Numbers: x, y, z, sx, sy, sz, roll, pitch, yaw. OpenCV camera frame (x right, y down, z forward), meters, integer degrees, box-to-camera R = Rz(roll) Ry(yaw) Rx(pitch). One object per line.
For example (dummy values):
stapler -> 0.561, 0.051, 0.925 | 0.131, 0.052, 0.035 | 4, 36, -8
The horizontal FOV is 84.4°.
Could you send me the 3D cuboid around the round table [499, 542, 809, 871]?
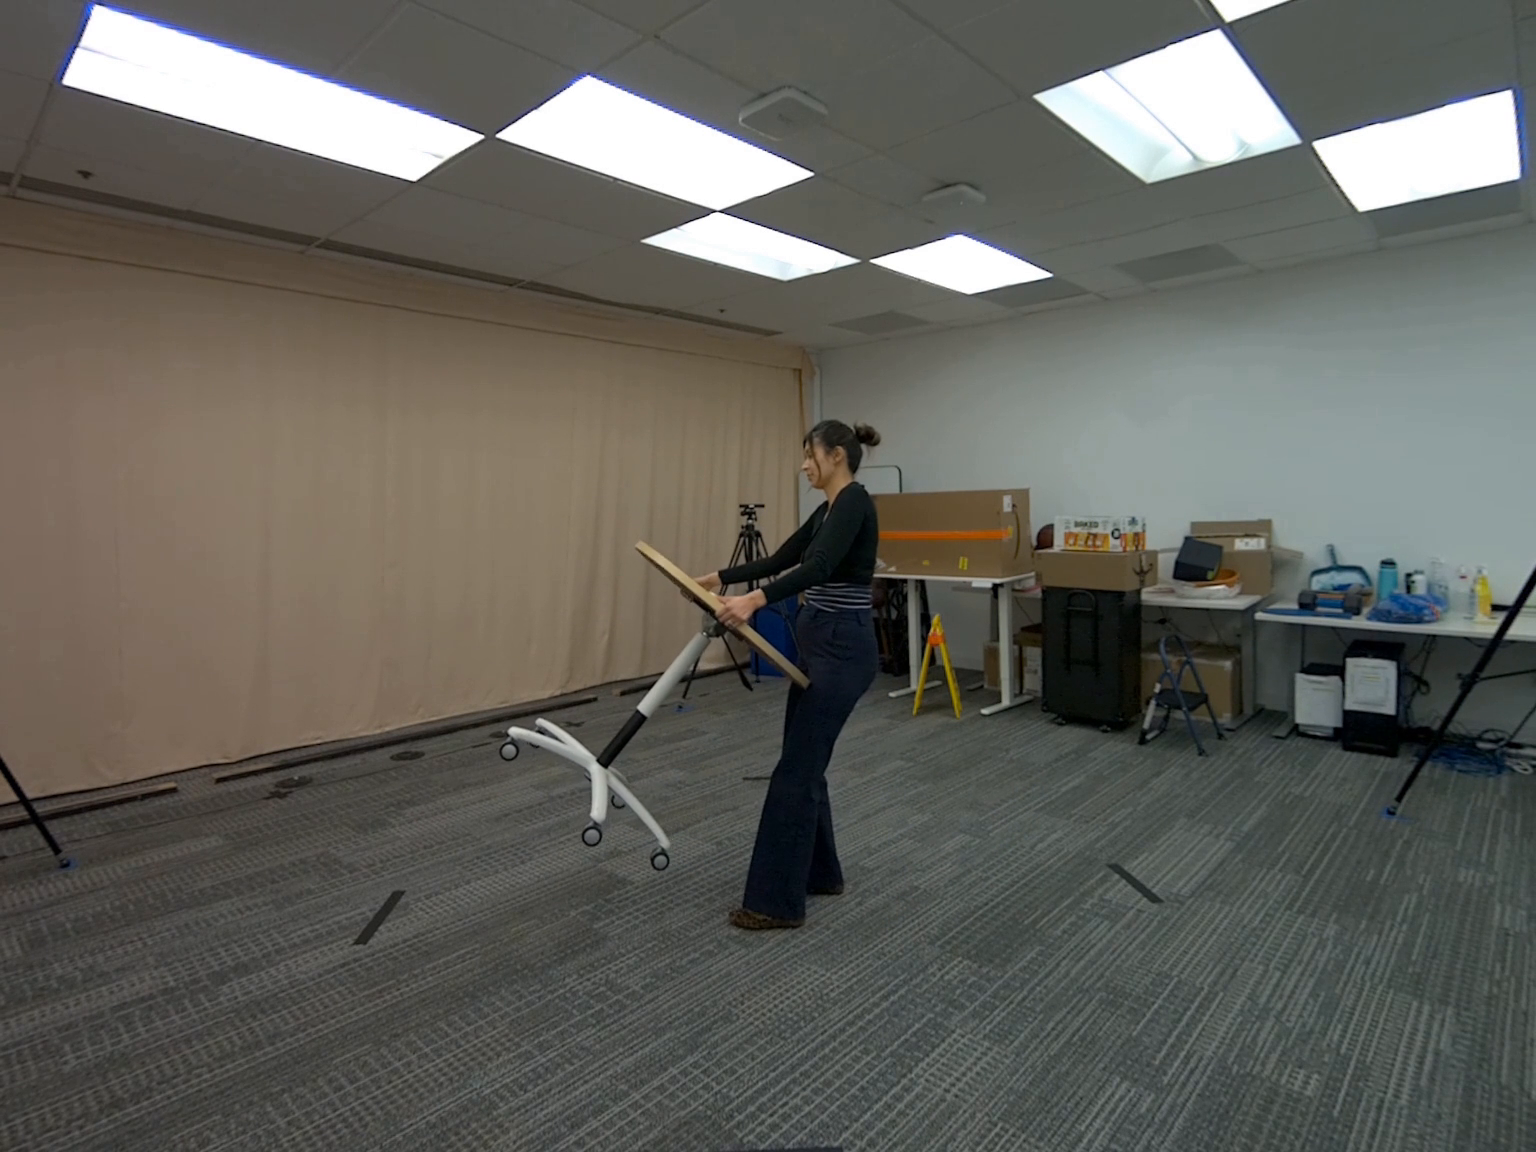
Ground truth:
round table -> -0.402, 0.441, 2.855 | 0.767, 0.793, 0.762 | 39, -6, 2
